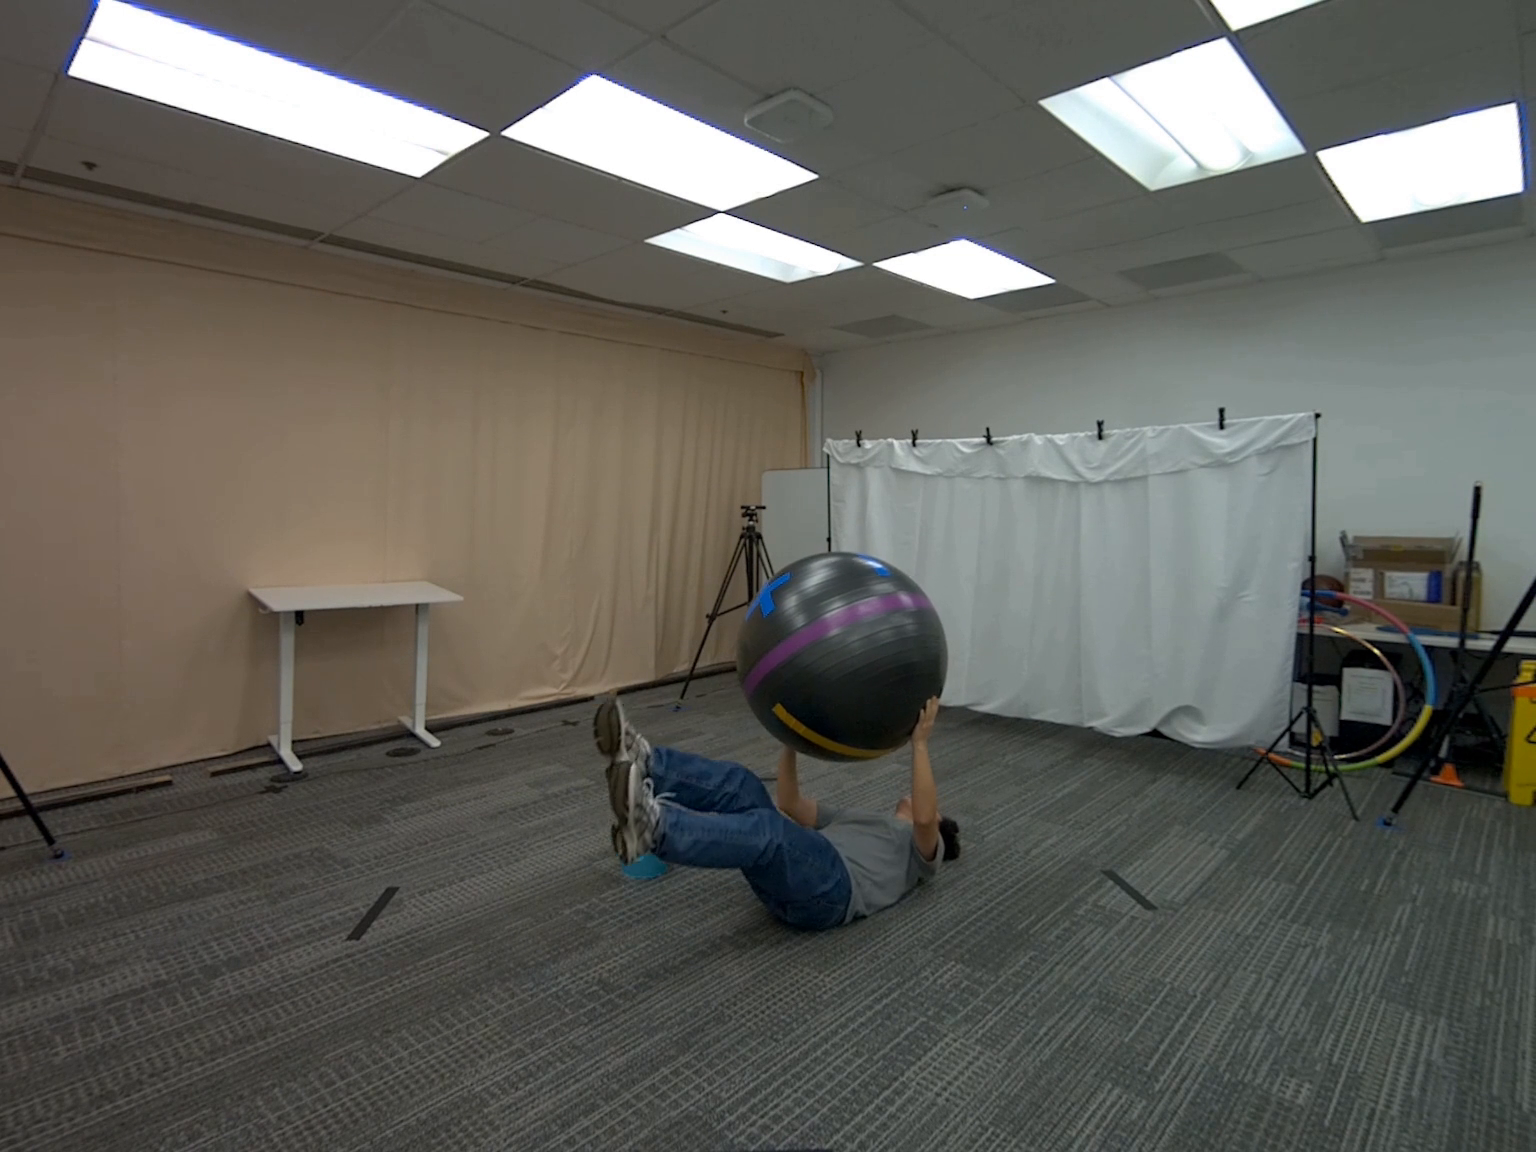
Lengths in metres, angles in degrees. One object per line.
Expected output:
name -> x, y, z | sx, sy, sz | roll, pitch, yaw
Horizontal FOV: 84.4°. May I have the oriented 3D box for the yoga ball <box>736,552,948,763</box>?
yoga ball -> 0.269, 0.299, 3.081 | 0.757, 0.756, 0.760 | 0, 4, -2
